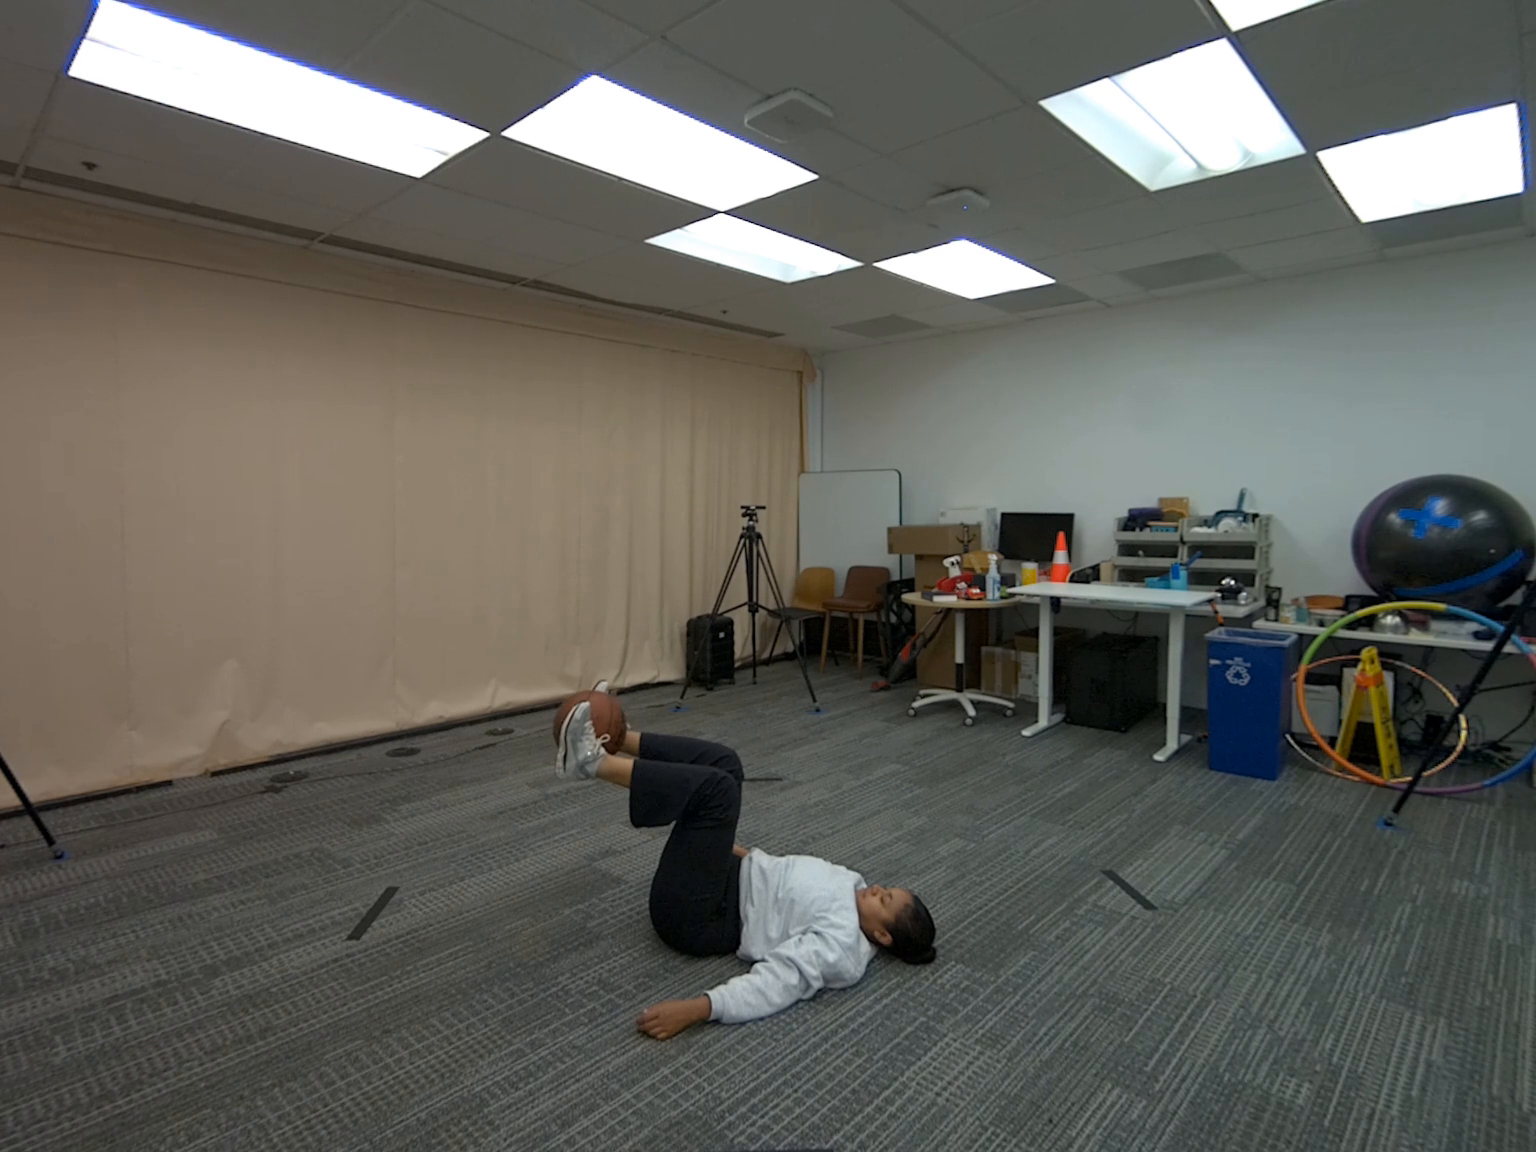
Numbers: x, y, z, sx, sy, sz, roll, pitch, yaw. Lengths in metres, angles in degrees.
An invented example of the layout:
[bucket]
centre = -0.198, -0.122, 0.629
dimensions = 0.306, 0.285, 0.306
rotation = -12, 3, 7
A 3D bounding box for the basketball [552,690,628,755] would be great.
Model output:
[basketball]
centre = -0.569, 0.496, 2.745
dimensions = 0.236, 0.236, 0.236
rotation = 2, 0, -2
